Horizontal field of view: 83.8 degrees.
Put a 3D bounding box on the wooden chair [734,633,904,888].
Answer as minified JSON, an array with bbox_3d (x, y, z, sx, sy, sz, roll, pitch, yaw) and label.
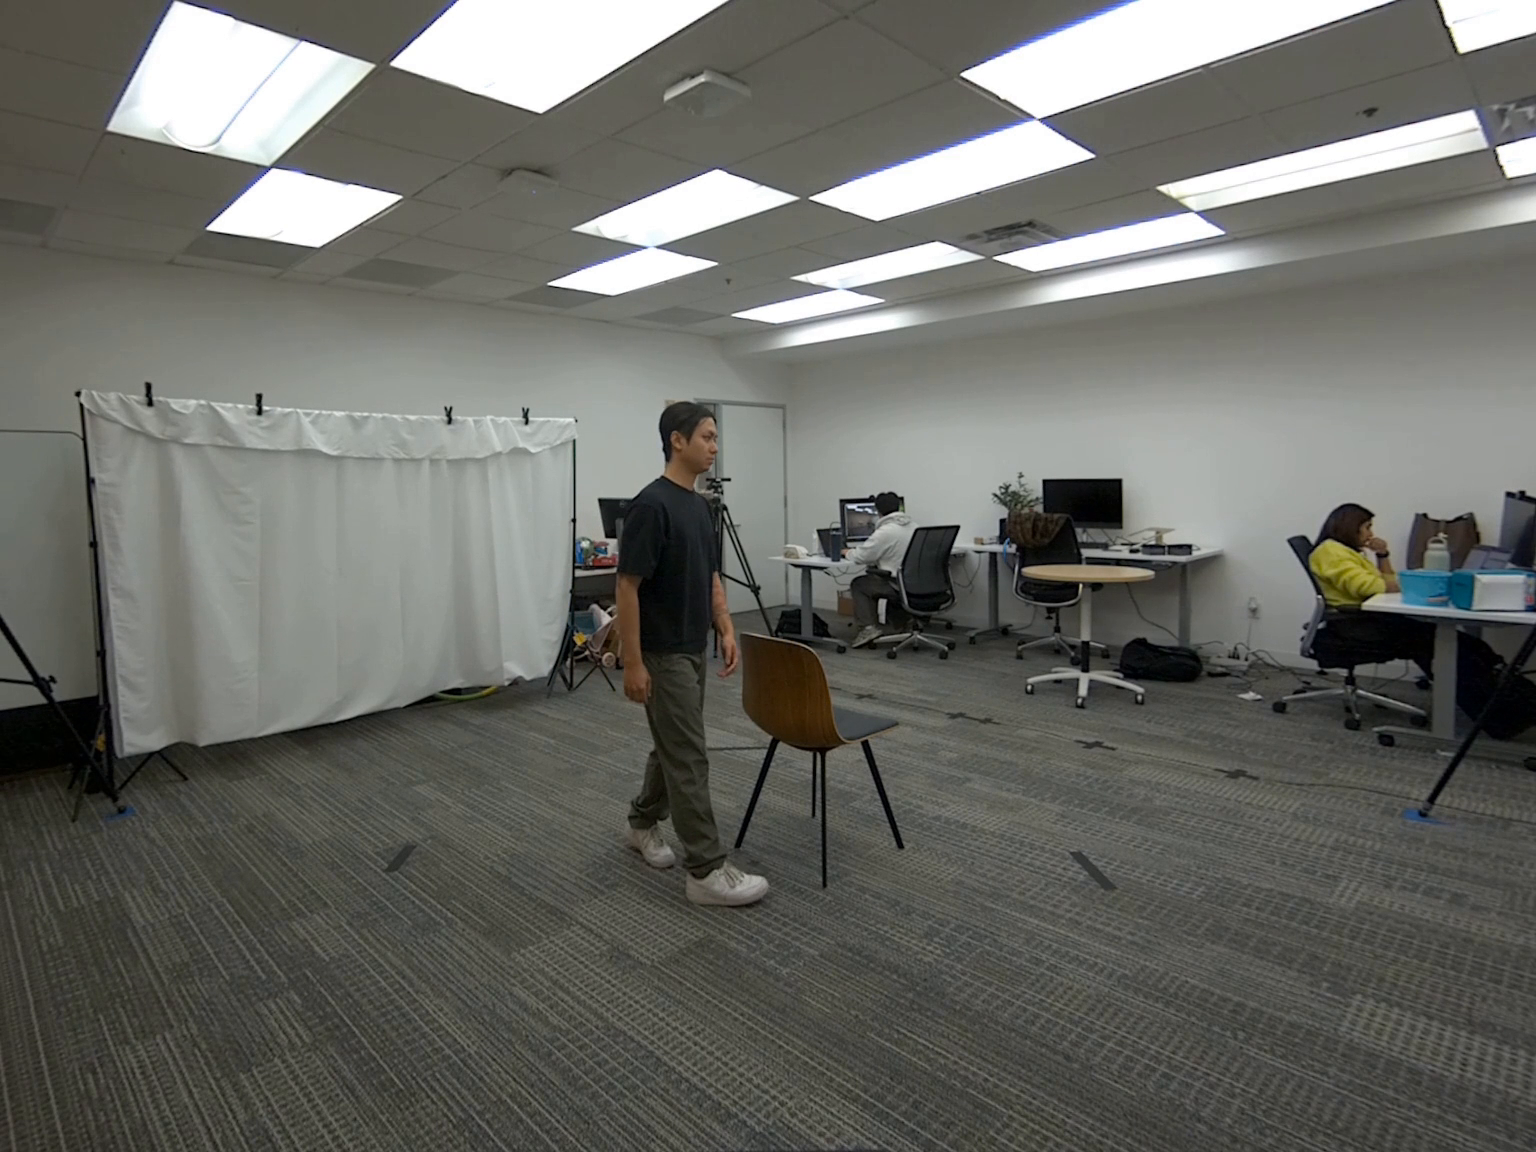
[{"bbox_3d":[0.192,0.600,3.193,0.511,0.872,0.493,-11,9,-43],"label":"wooden chair"}]
